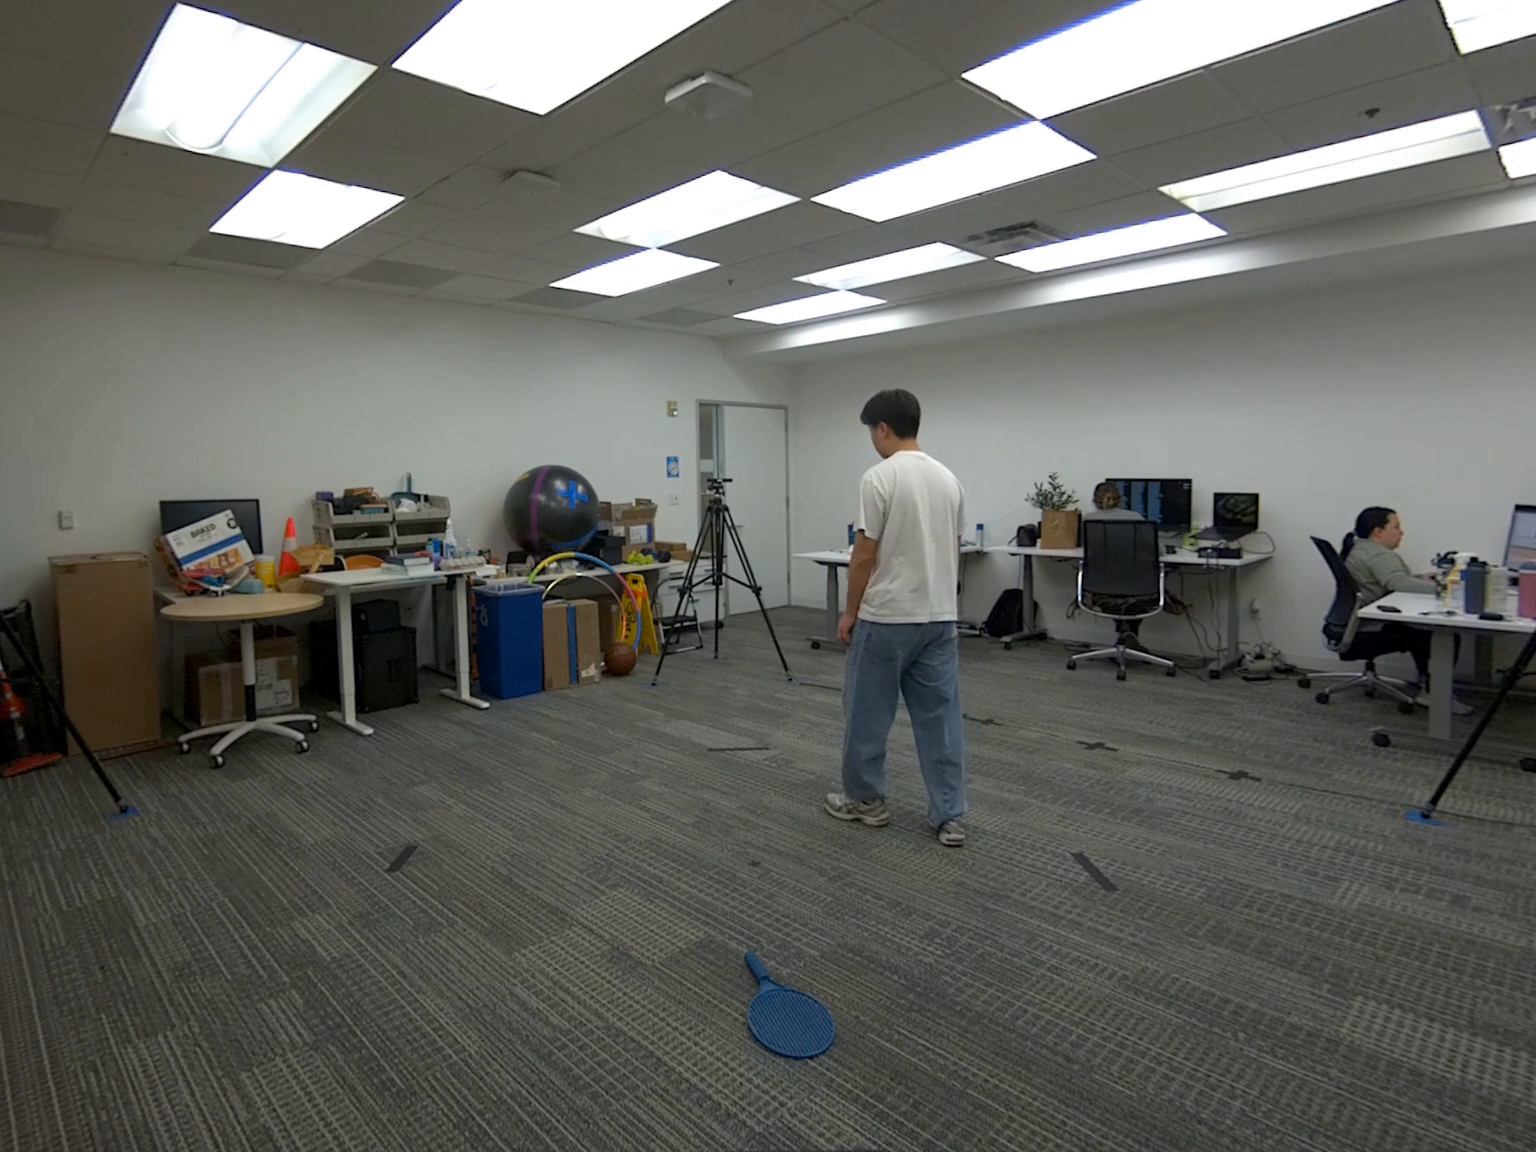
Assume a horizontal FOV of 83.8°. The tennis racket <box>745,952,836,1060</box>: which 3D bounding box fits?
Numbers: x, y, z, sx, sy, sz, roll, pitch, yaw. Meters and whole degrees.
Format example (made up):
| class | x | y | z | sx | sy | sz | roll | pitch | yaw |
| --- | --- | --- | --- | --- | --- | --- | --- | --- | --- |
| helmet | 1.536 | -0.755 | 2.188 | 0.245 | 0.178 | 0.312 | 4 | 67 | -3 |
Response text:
| class | x | y | z | sx | sy | sz | roll | pitch | yaw |
| --- | --- | --- | --- | --- | --- | --- | --- | --- | --- |
| tennis racket | 0.037 | 1.128 | 2.264 | 0.210 | 0.031 | 0.442 | -3 | 8 | -19 |
